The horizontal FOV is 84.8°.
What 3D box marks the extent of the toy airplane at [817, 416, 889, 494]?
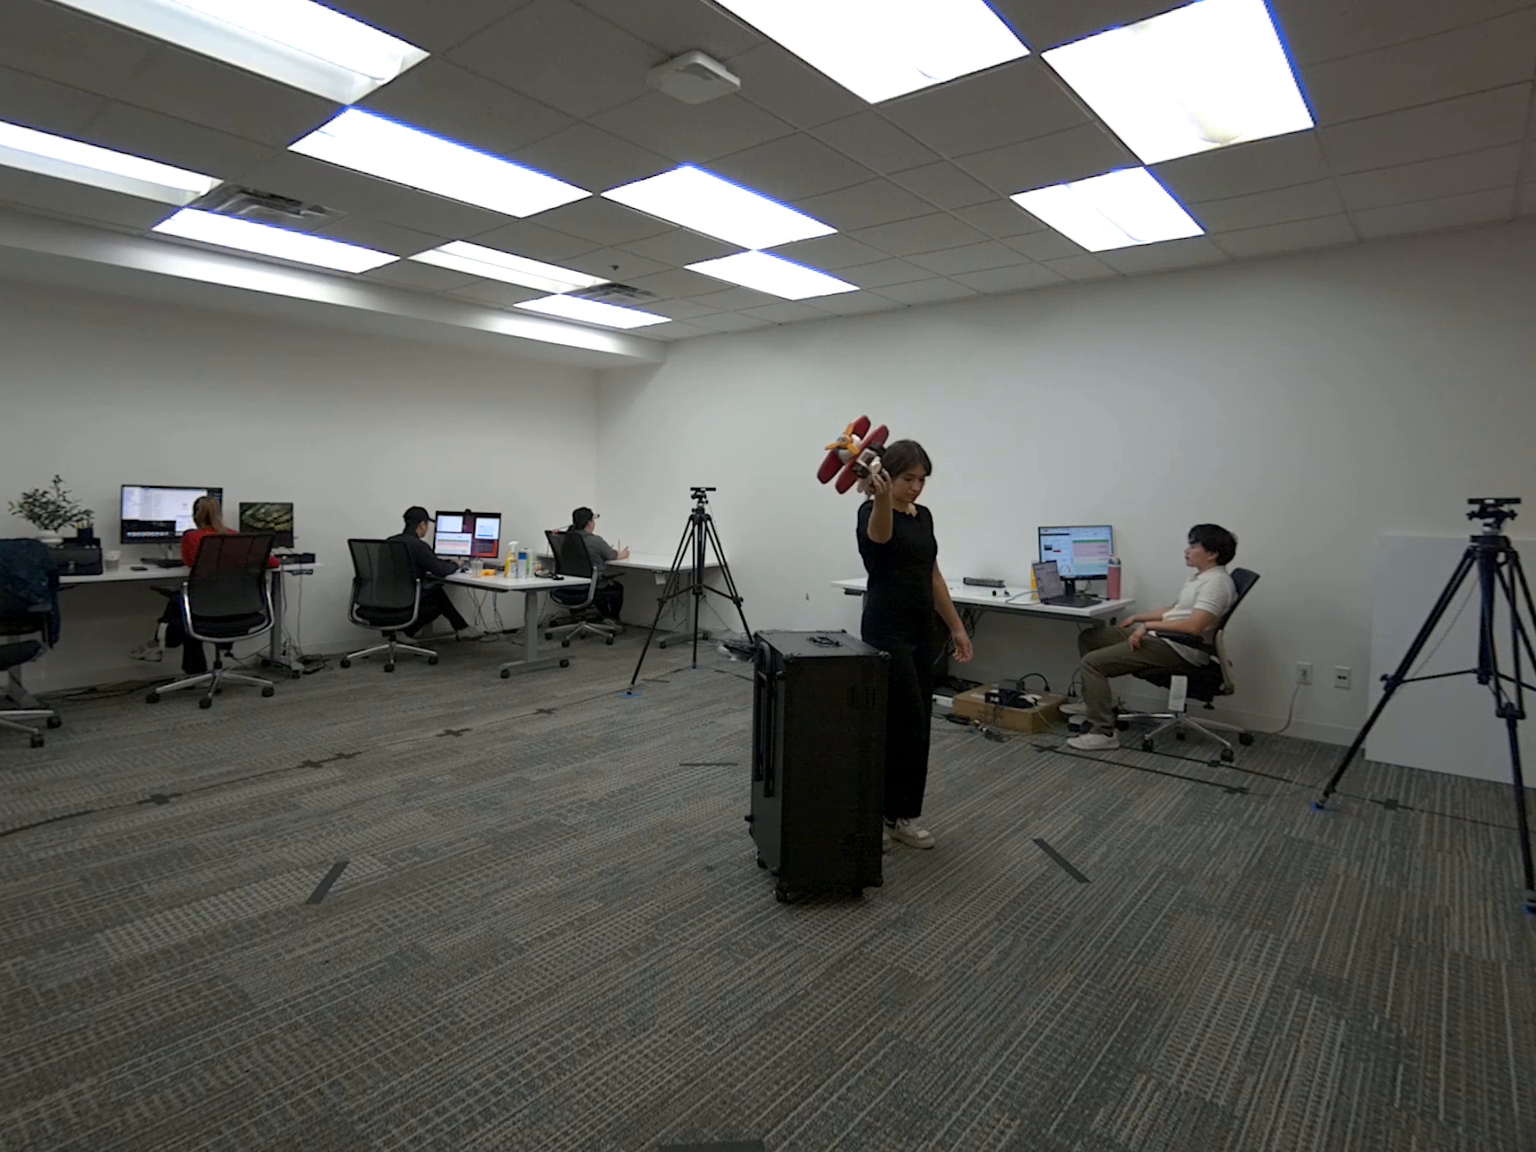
[{"bbox_3d":[0.267,-0.354,2.706,0.161,0.253,0.250,37,58,22],"label":"toy airplane"}]
